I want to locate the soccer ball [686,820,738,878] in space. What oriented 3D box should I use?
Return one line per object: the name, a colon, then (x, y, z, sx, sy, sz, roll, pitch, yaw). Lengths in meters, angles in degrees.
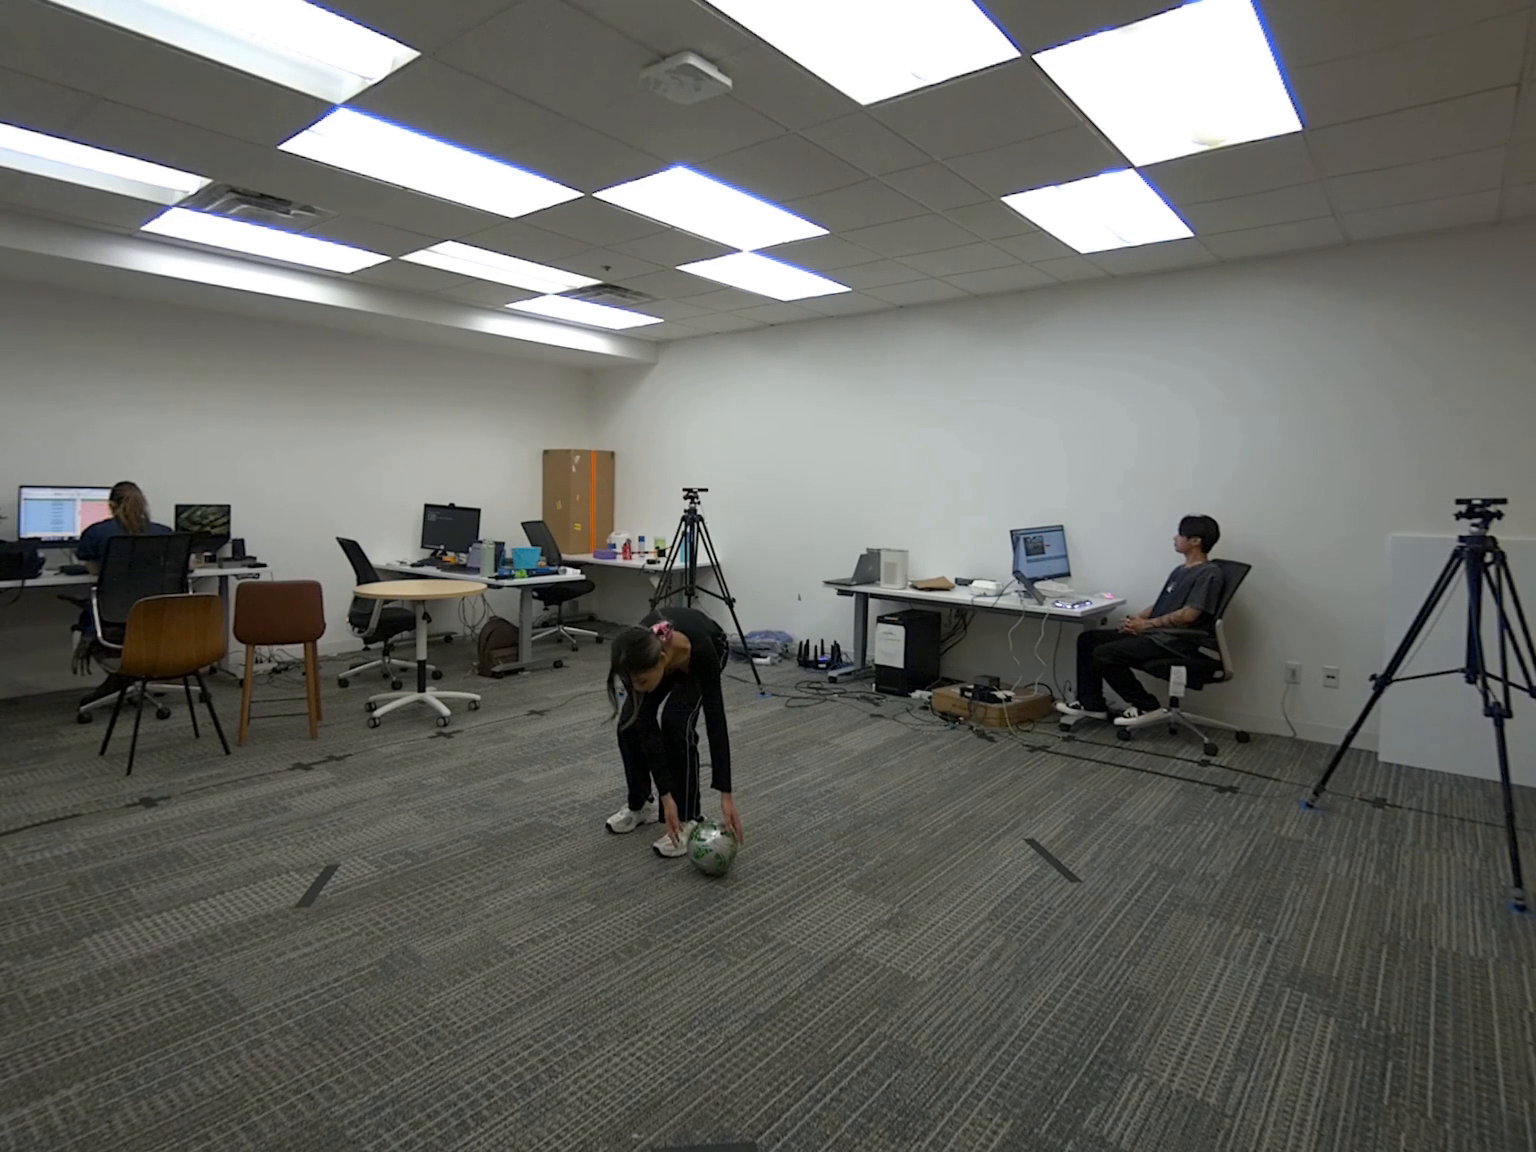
soccer ball: (-0.212, 0.978, 3.079, 0.187, 0.187, 0.188, 1, 4, -2)
